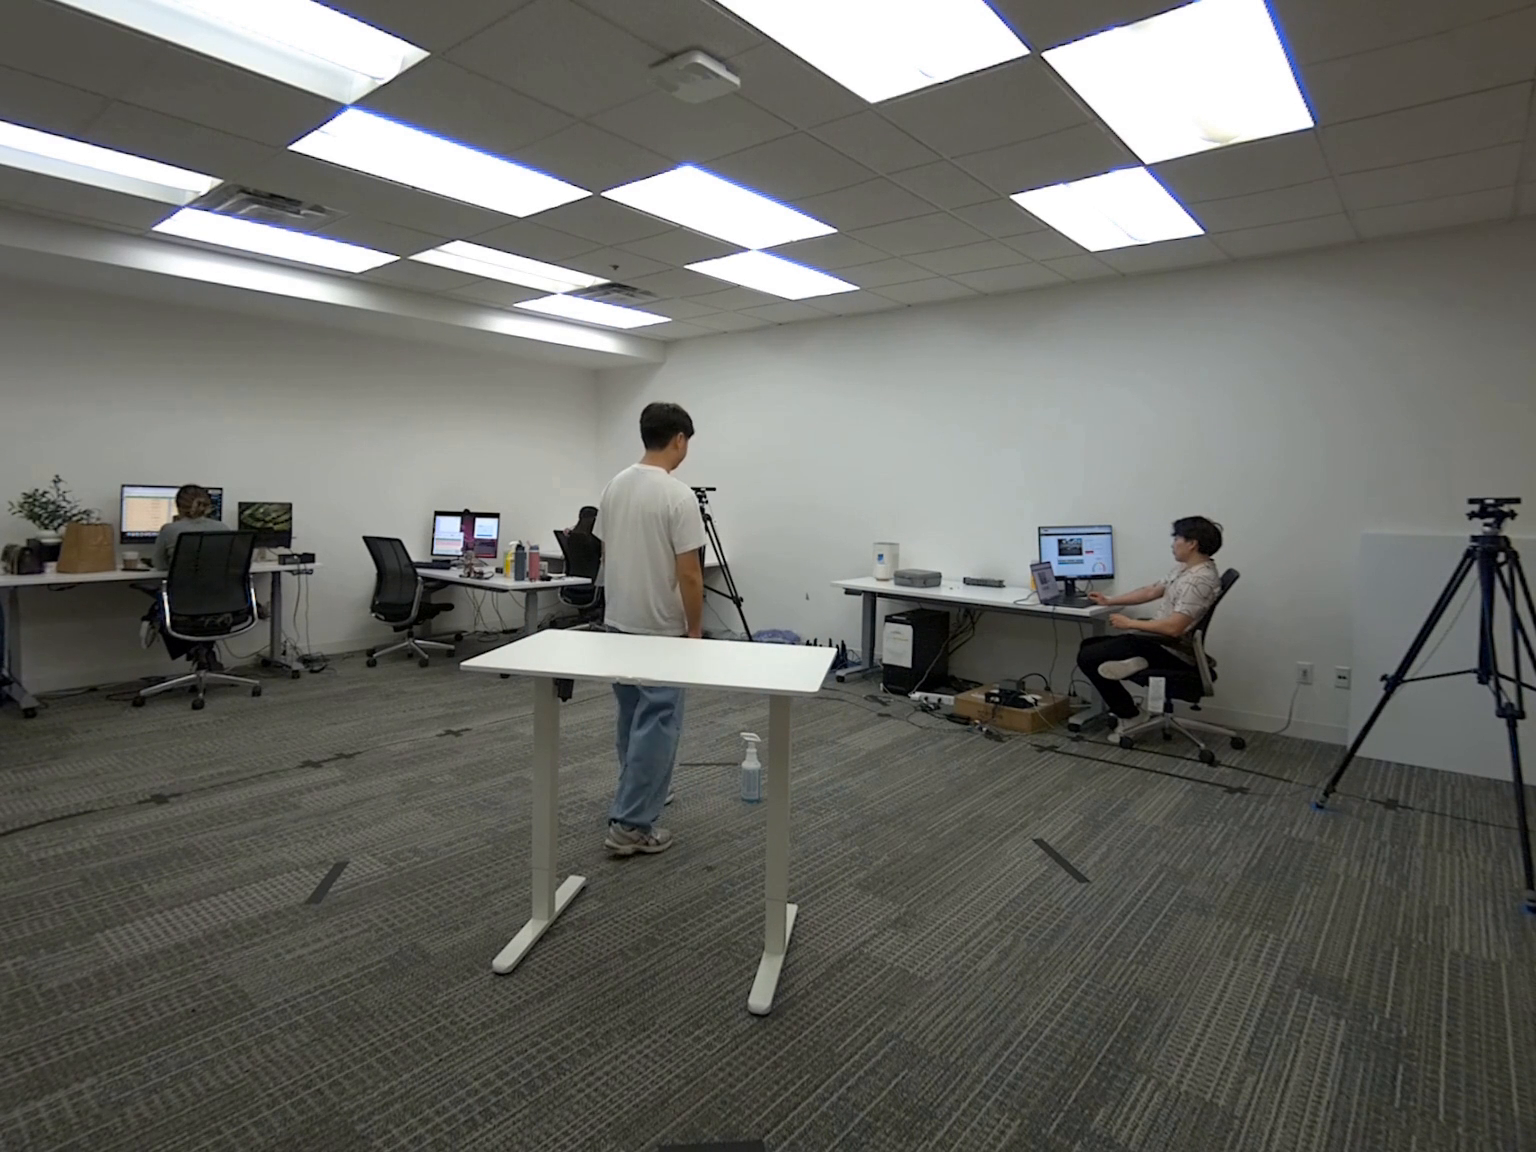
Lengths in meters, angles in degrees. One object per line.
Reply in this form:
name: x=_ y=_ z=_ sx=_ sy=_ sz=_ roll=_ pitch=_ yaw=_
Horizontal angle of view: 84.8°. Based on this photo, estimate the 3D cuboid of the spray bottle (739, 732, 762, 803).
spray bottle: x=-0.090 y=0.853 z=3.802 sx=0.092 sy=0.295 sz=0.085 roll=3 pitch=7 yaw=28
